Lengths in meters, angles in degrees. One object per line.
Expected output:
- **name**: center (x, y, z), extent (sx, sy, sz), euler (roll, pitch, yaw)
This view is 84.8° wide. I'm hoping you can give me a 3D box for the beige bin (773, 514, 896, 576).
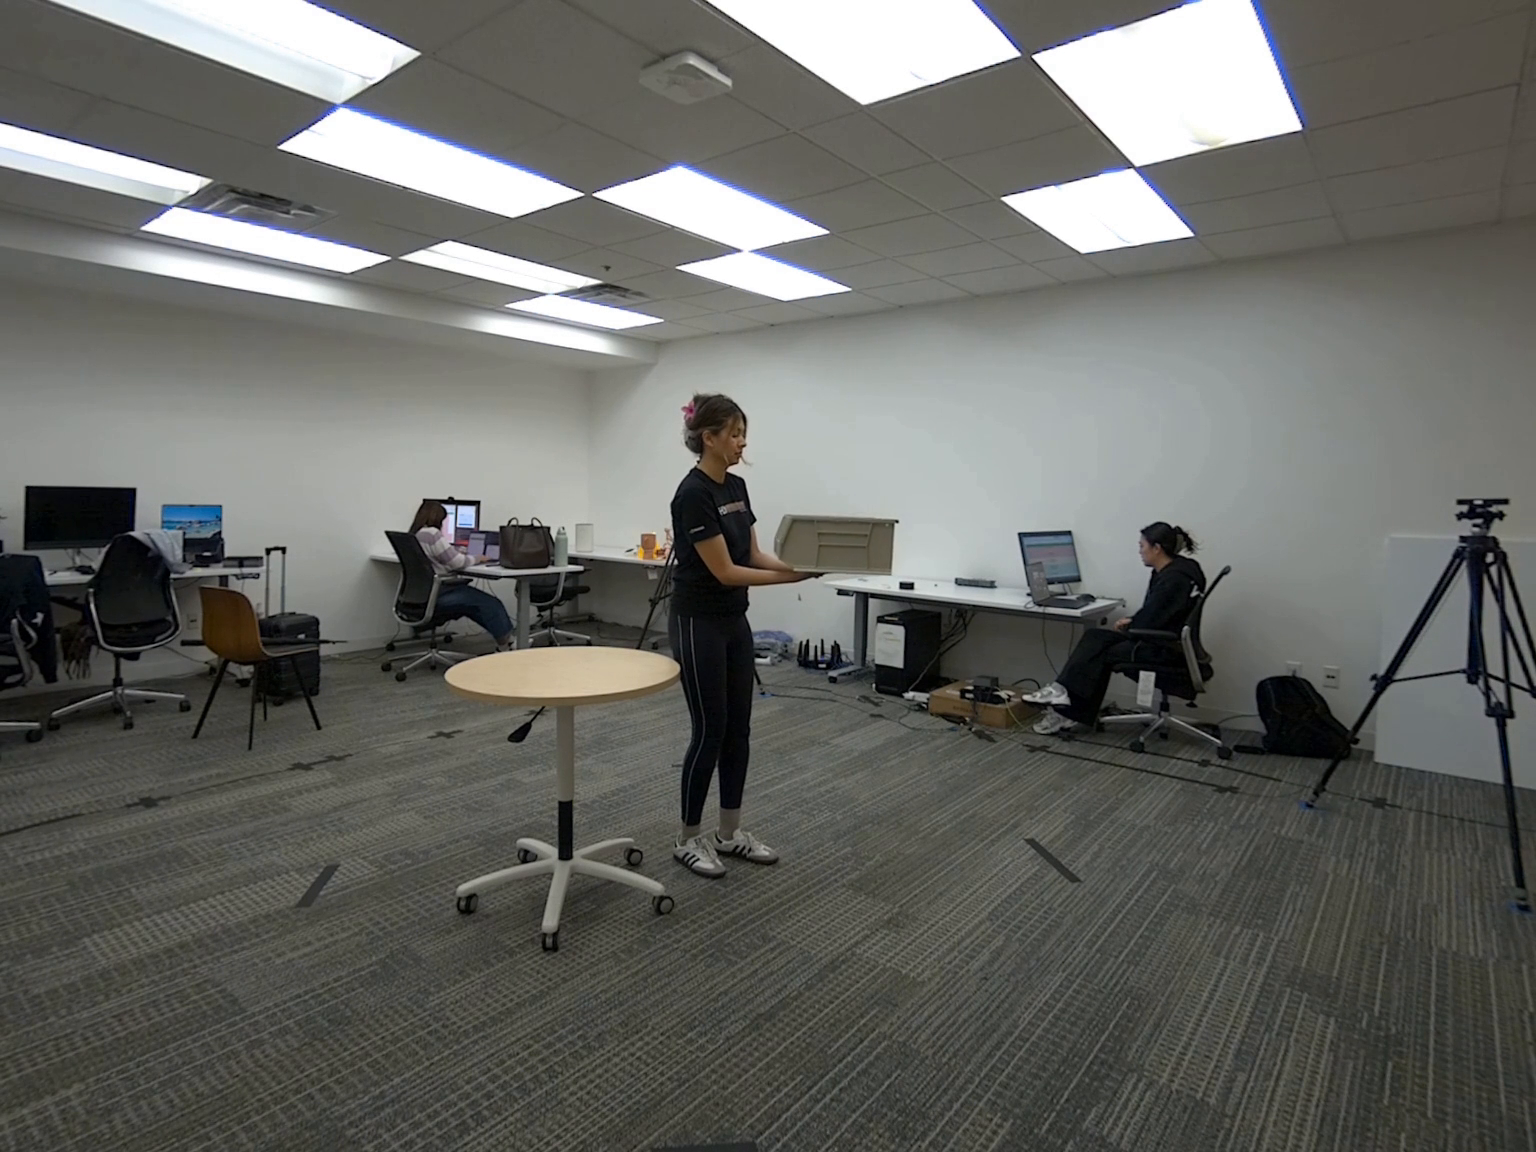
- **beige bin**: center (0.206, -0.110, 2.902), extent (0.377, 0.188, 0.424), euler (2, 5, -2)
